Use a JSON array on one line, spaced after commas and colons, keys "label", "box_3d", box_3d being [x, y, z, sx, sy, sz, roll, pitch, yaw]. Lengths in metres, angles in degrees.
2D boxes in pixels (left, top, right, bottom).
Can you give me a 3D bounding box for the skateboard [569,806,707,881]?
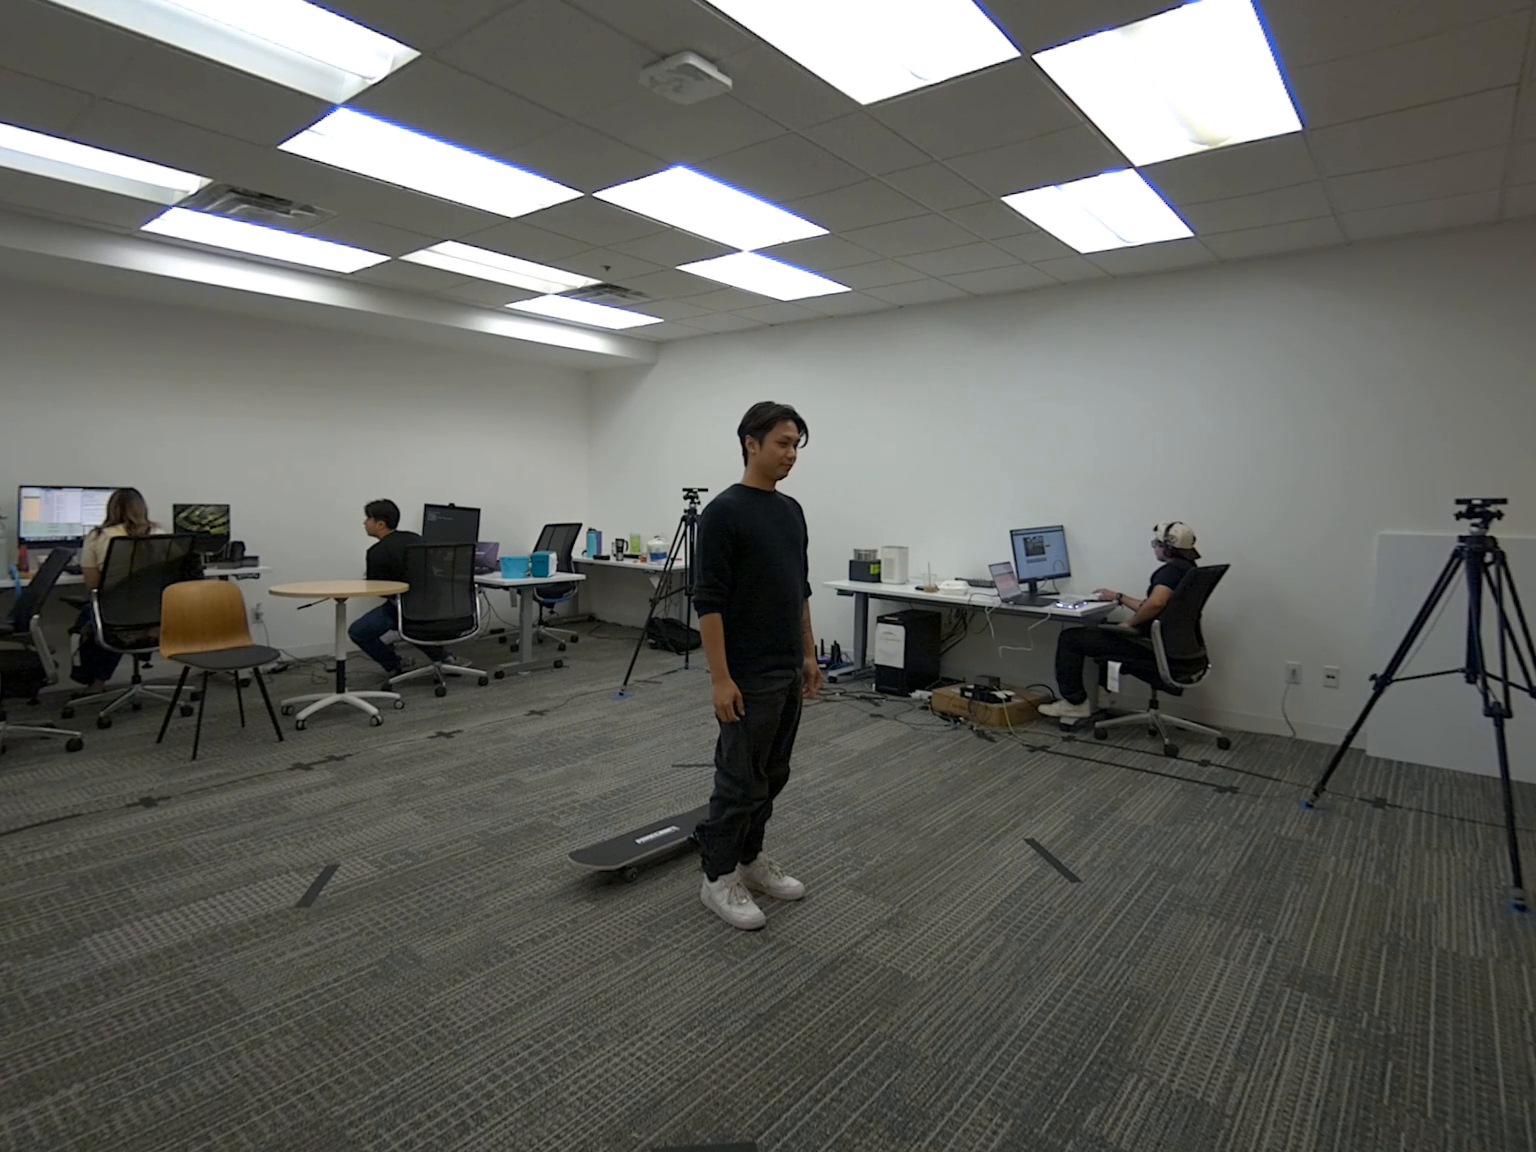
[{"label": "skateboard", "box_3d": [-0.419, 1.001, 3.200, 0.200, 0.110, 0.762, 5, 7, 42]}]
